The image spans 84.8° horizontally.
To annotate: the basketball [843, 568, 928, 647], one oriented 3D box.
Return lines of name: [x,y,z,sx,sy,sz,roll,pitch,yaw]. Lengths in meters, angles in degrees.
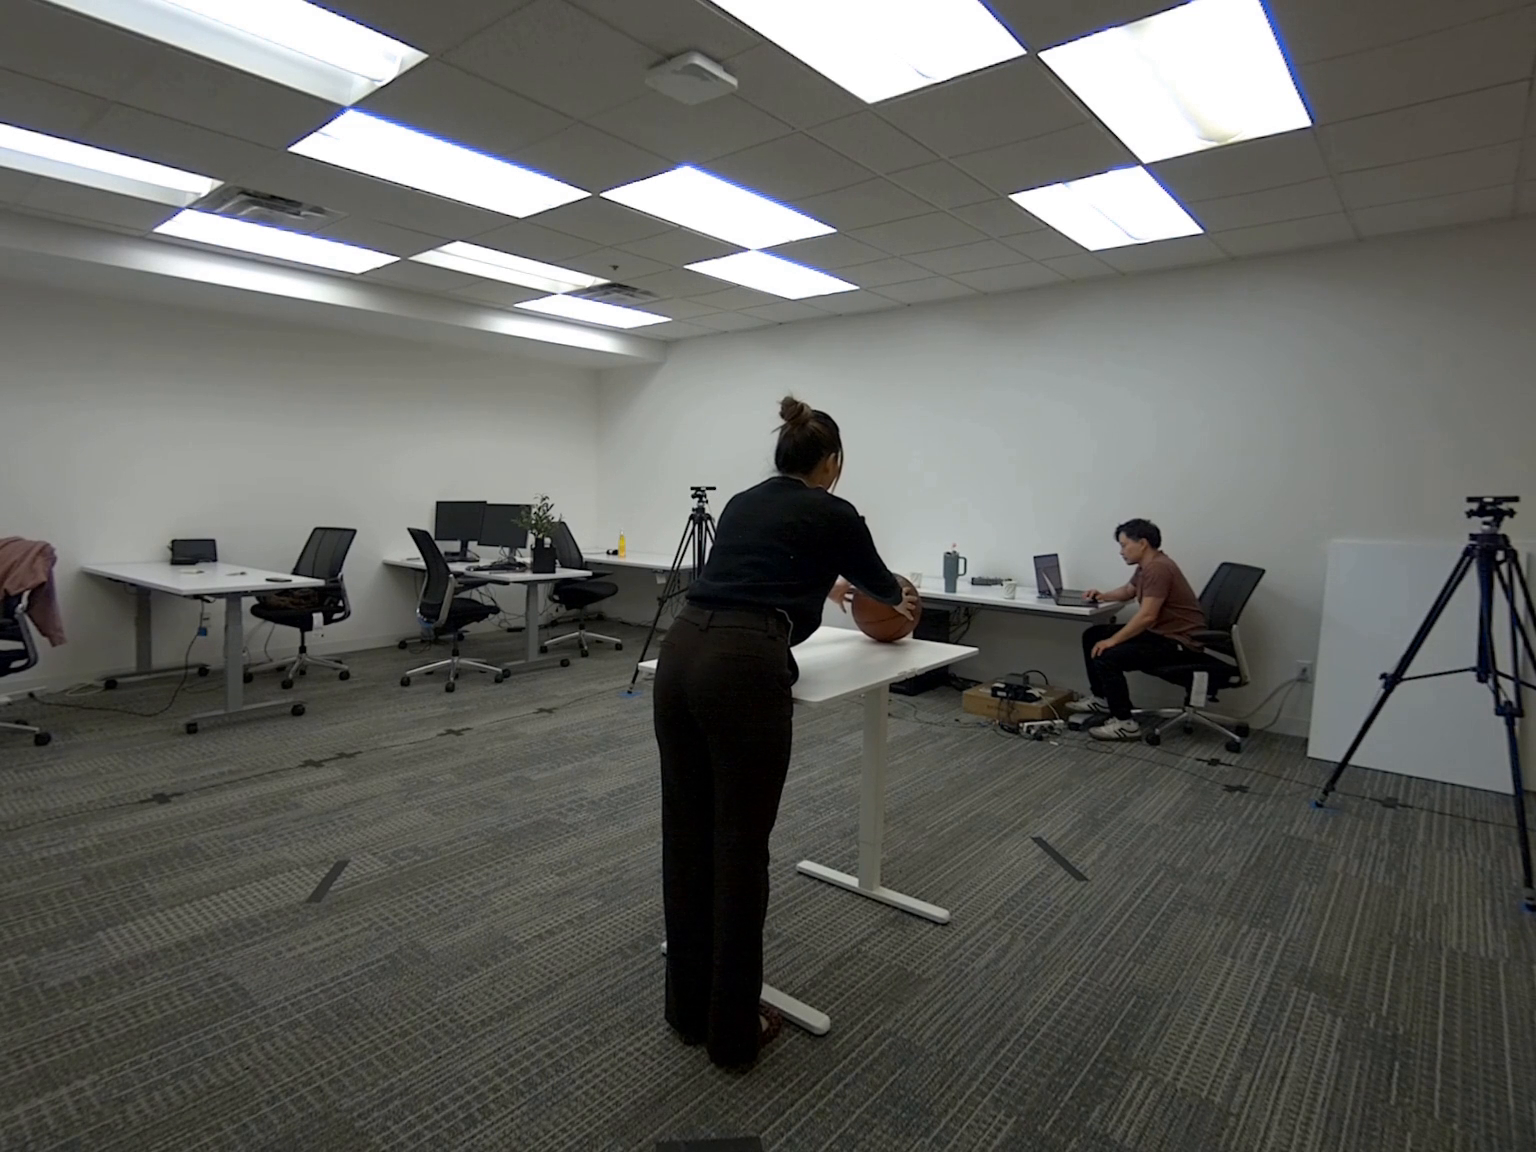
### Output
basketball: [0.397,0.100,2.896,0.235,0.235,0.237,1,4,-2]
